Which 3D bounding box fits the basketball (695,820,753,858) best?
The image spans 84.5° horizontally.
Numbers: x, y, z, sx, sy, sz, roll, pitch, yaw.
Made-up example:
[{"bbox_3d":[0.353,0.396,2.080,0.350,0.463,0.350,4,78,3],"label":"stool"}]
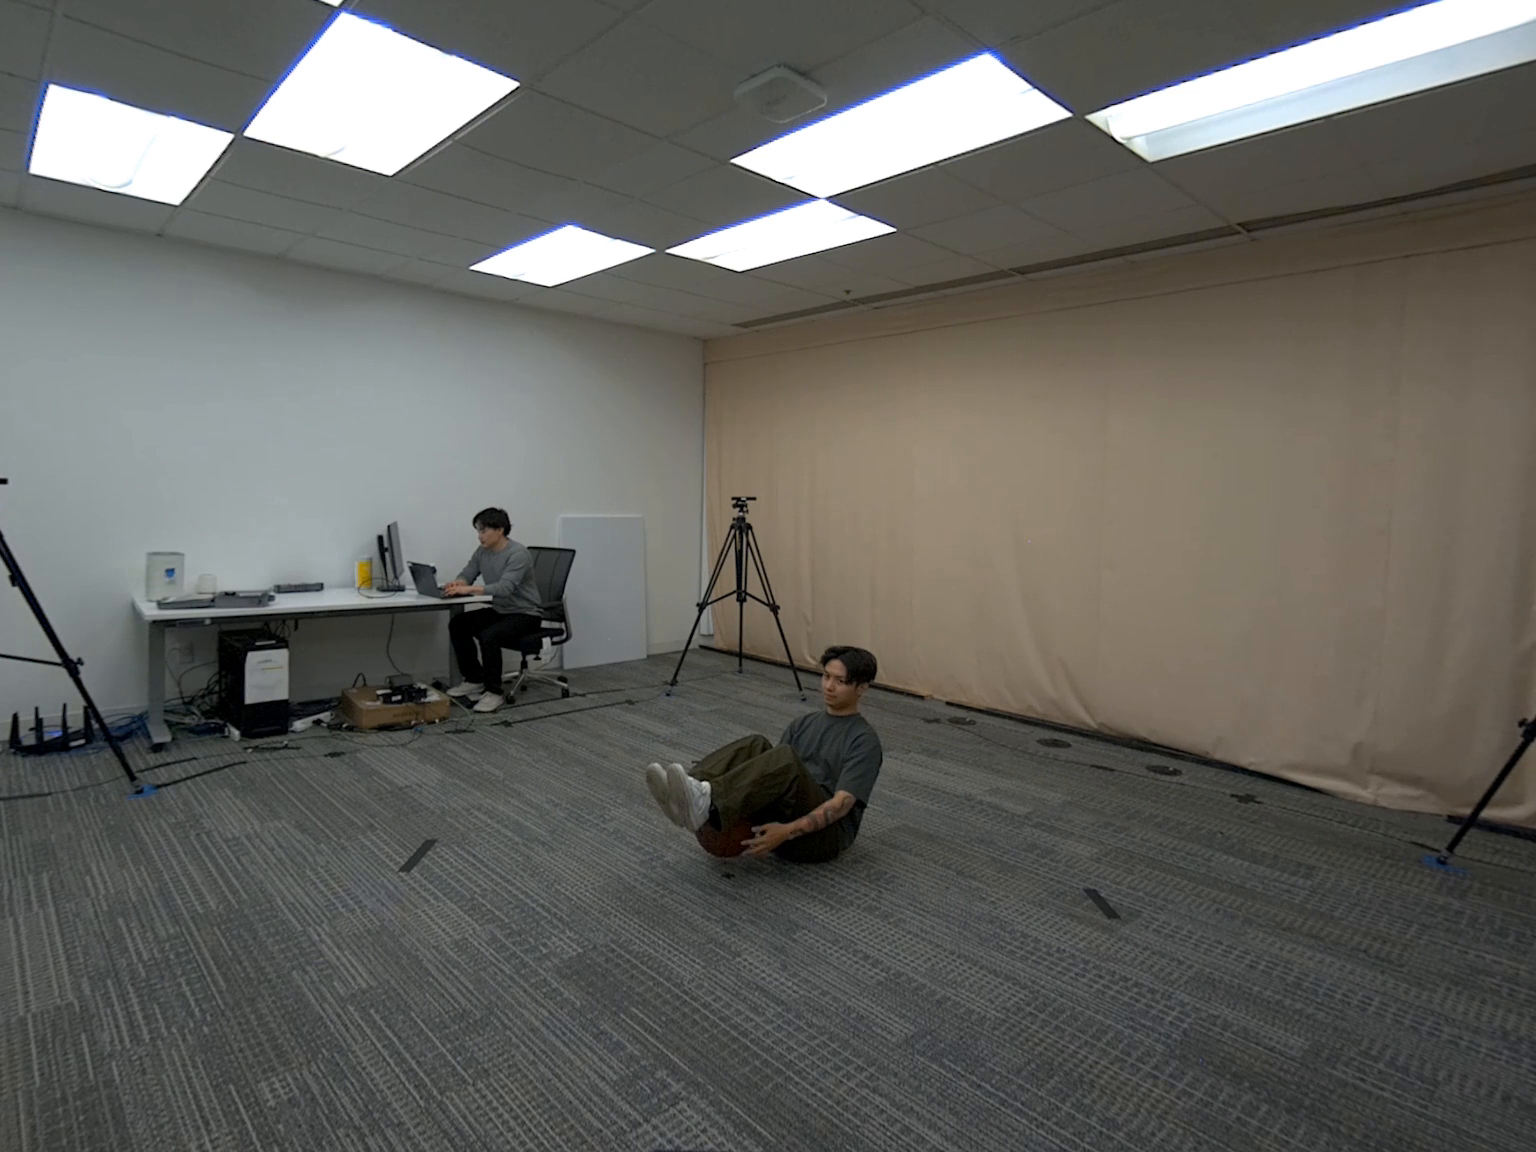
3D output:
[{"bbox_3d":[-0.159,0.923,3.176,0.236,0.235,0.237,1,4,-1],"label":"basketball"}]
